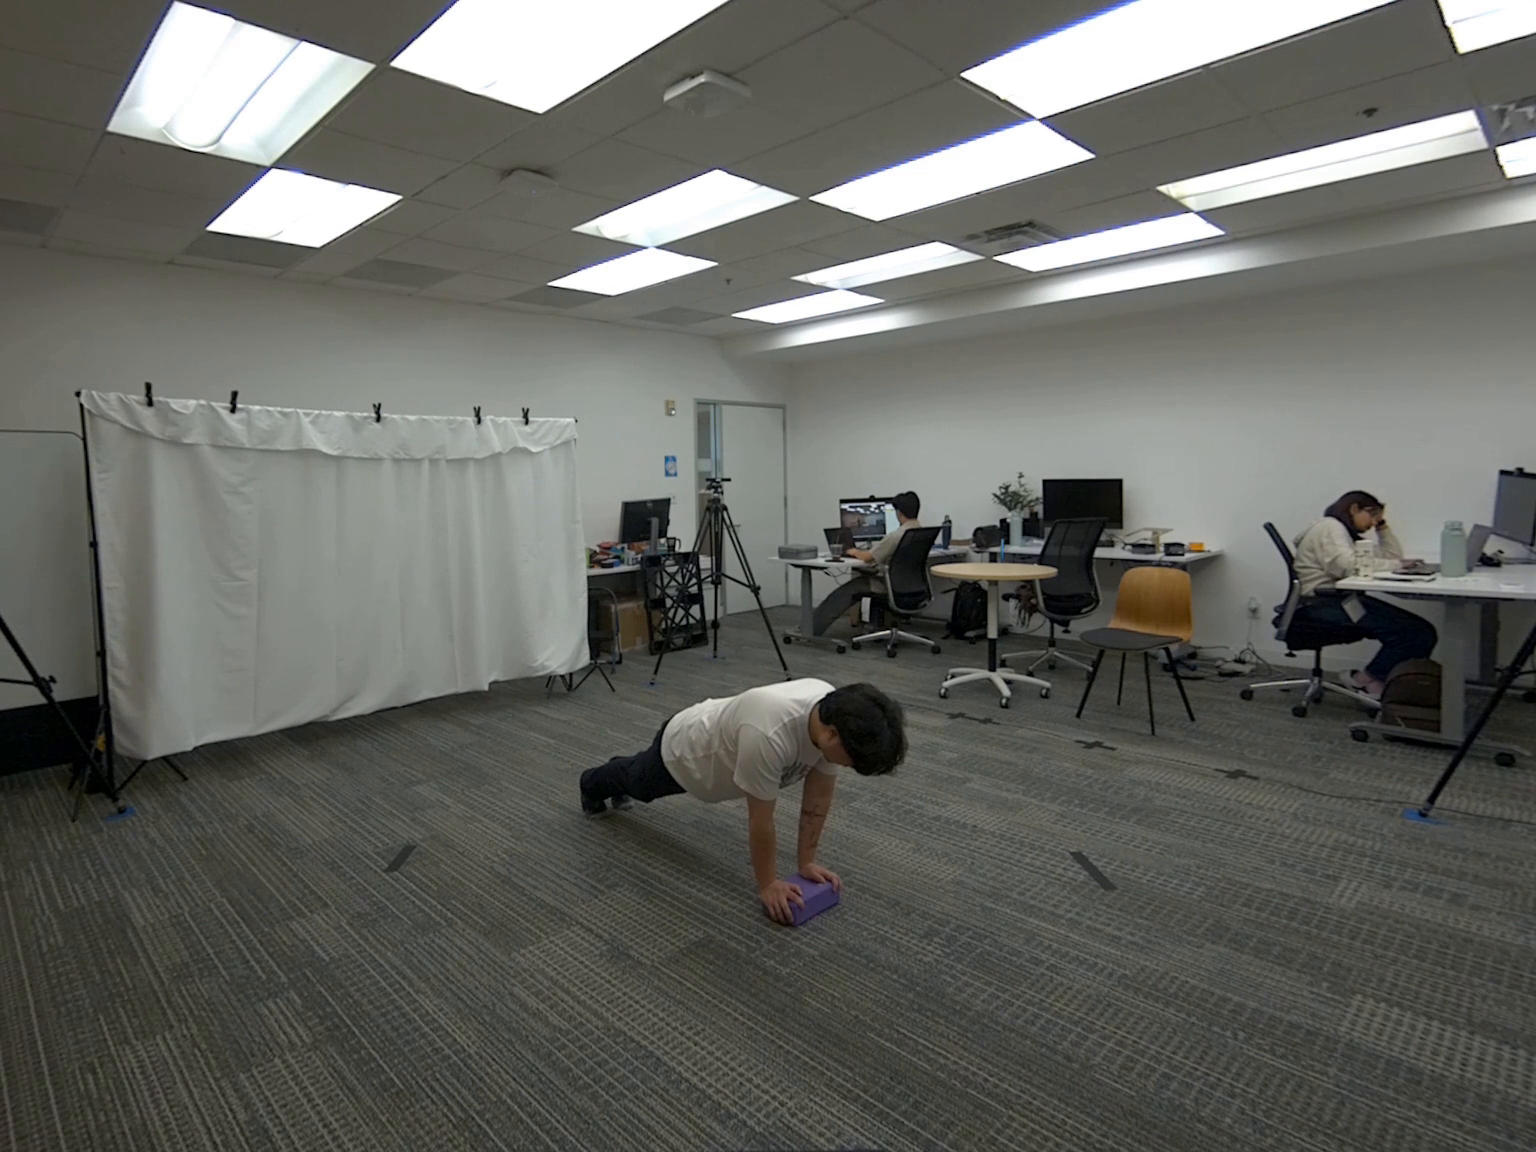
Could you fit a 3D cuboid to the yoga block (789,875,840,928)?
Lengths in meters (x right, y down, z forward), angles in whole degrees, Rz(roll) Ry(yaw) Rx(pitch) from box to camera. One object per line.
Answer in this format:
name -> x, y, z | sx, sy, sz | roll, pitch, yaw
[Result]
yoga block -> 0.110, 1.046, 2.776 | 0.153, 0.076, 0.223 | 4, 8, 44
